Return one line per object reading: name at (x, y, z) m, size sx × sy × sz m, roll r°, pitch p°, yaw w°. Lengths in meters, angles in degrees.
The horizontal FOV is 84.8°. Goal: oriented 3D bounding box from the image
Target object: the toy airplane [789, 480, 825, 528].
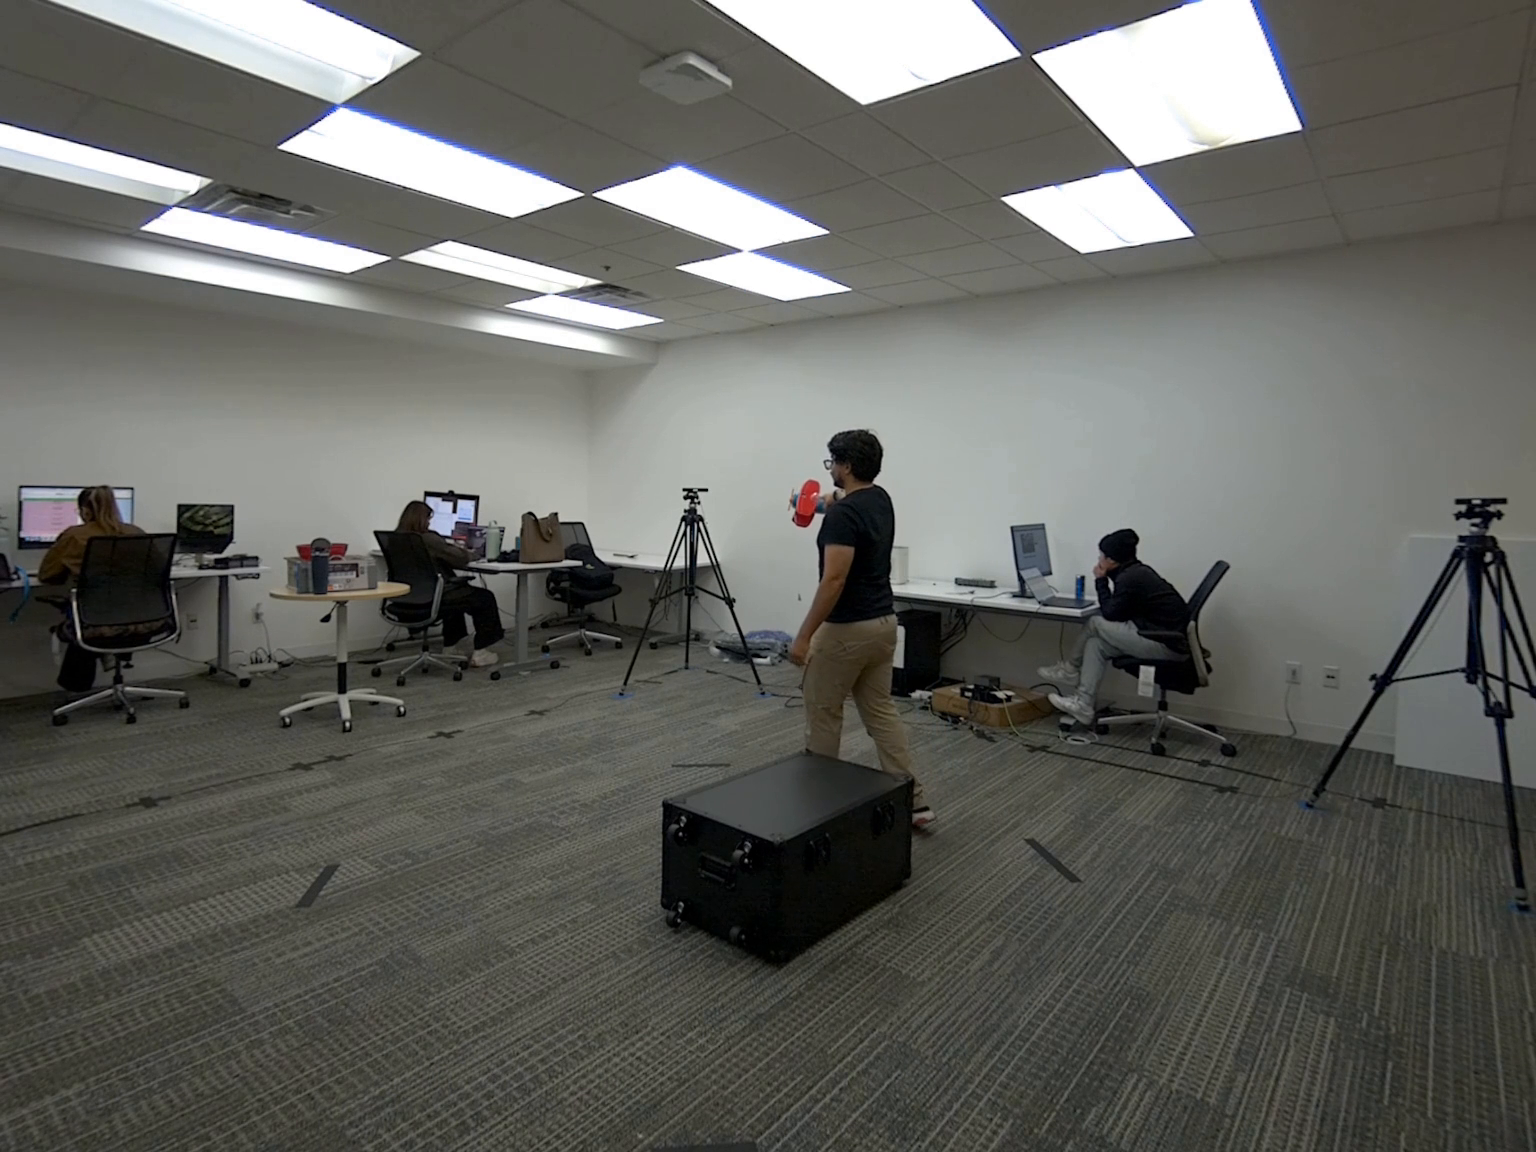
toy airplane at (0.229, -0.367, 4.261) m, size 0.258 × 0.151 × 0.261 m, roll -16°, pitch 47°, yaw -3°
